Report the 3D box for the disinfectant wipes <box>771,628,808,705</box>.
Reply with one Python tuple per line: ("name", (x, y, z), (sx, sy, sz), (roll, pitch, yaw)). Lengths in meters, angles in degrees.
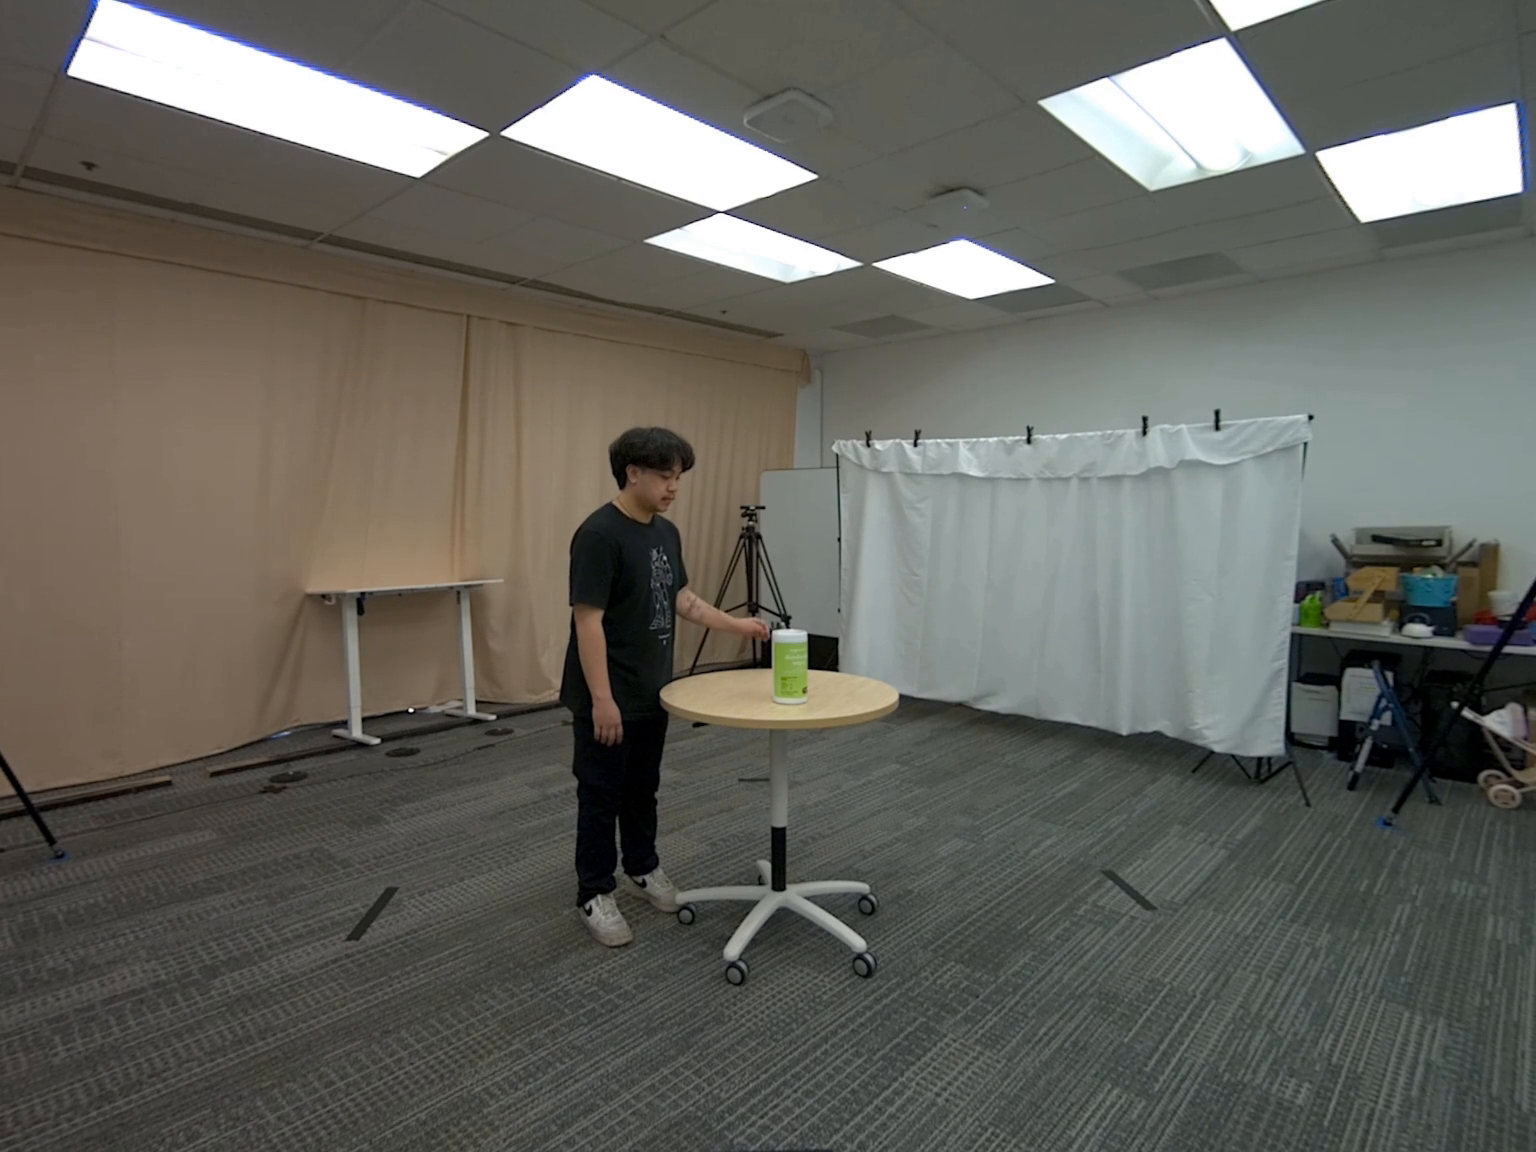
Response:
("disinfectant wipes", (0.069, 0.277, 2.568), (0.118, 0.217, 0.118), (1, 3, -2))
